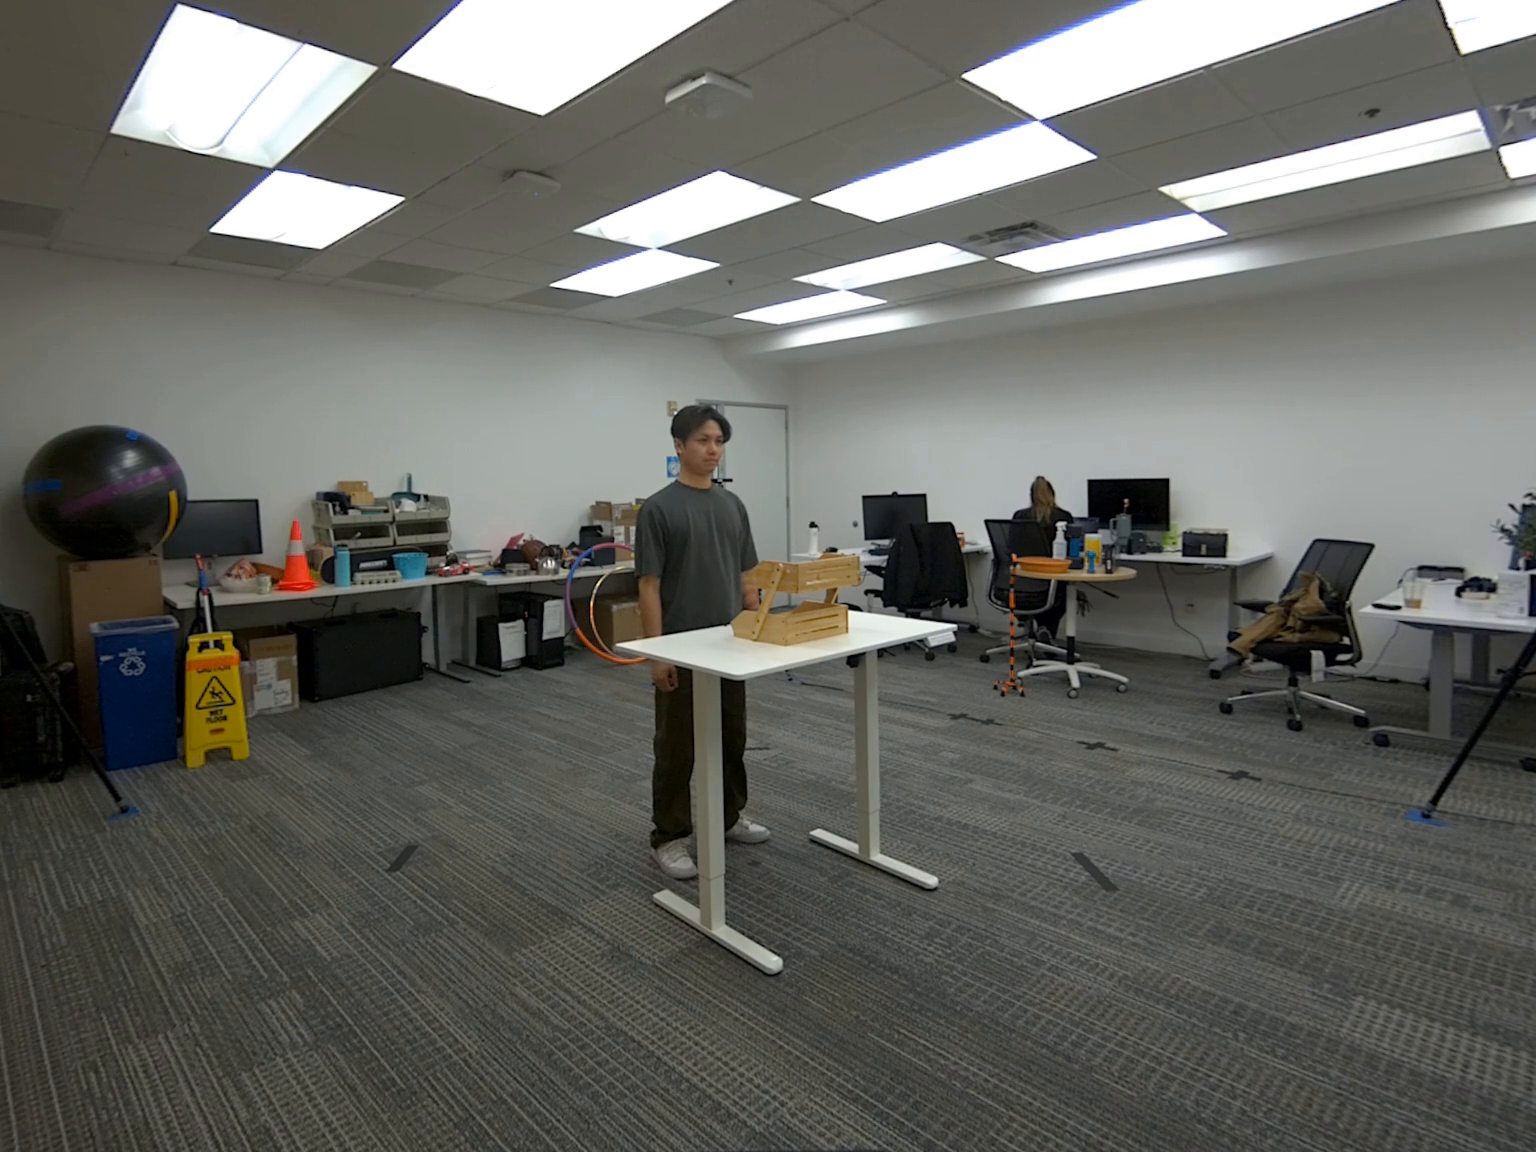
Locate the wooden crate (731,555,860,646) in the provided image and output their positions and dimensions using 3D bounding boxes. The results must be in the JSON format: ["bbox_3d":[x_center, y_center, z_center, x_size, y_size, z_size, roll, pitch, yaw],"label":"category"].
[{"bbox_3d":[0.093,0.063,2.788,0.316,0.272,0.311,-7,8,-43],"label":"wooden crate"}]
